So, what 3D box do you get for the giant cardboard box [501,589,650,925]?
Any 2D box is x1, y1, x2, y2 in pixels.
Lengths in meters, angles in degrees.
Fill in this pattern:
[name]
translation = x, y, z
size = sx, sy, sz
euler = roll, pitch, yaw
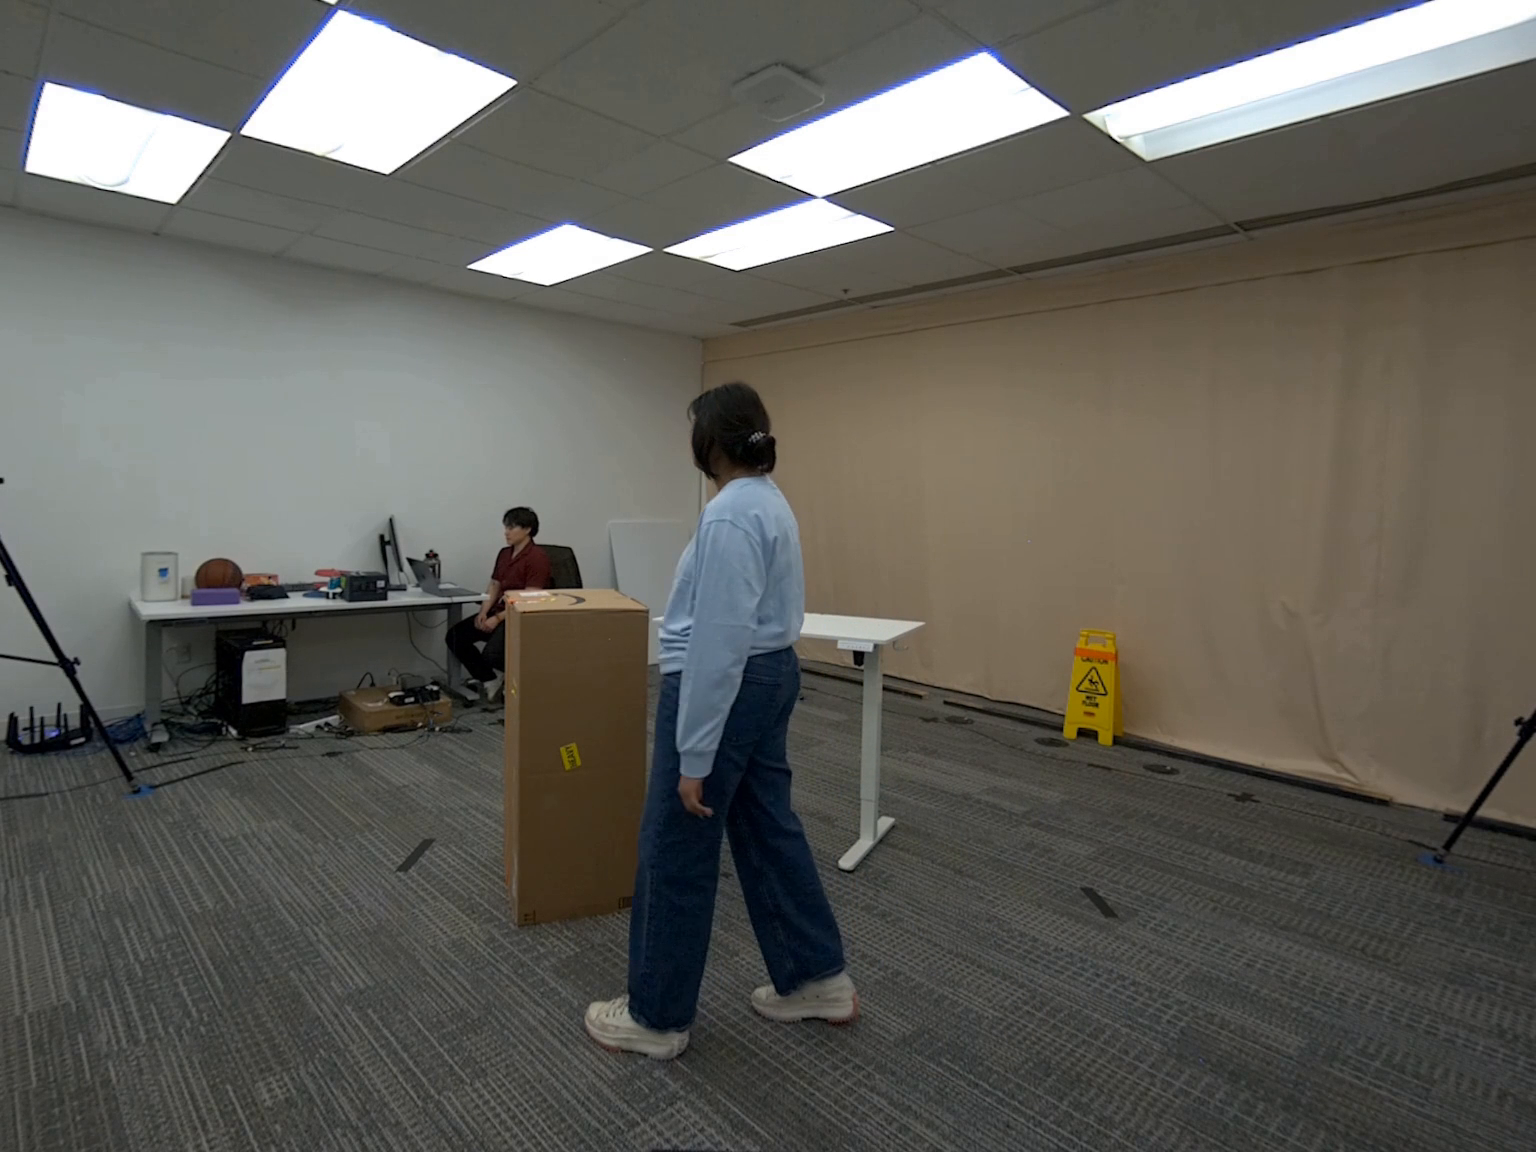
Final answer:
[giant cardboard box]
translation = -0.714, 0.592, 3.008
size = 0.419, 1.023, 0.588
euler = 0, 4, -22
